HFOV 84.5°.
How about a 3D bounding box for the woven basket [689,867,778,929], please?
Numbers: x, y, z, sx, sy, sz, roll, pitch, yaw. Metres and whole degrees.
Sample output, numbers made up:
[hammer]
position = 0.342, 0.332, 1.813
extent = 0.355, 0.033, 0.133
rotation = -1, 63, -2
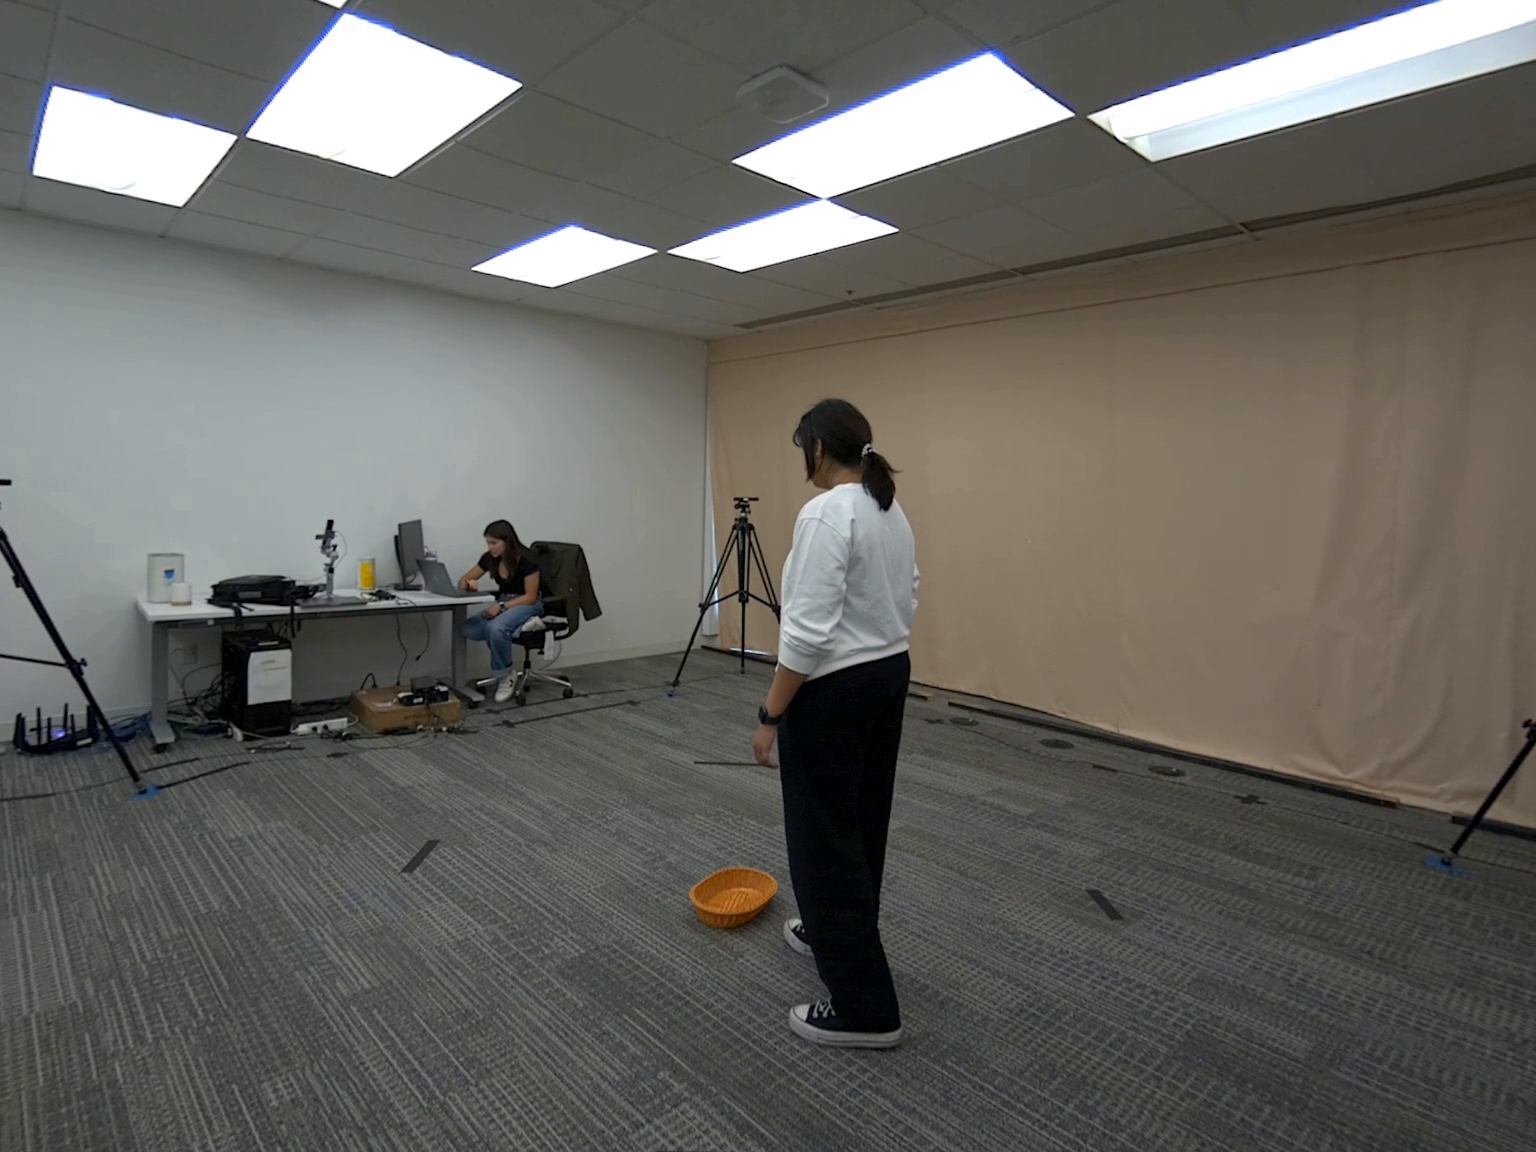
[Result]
[woven basket]
position = -0.119, 1.090, 2.854
extent = 0.258, 0.073, 0.343
rotation = 6, 7, 33
